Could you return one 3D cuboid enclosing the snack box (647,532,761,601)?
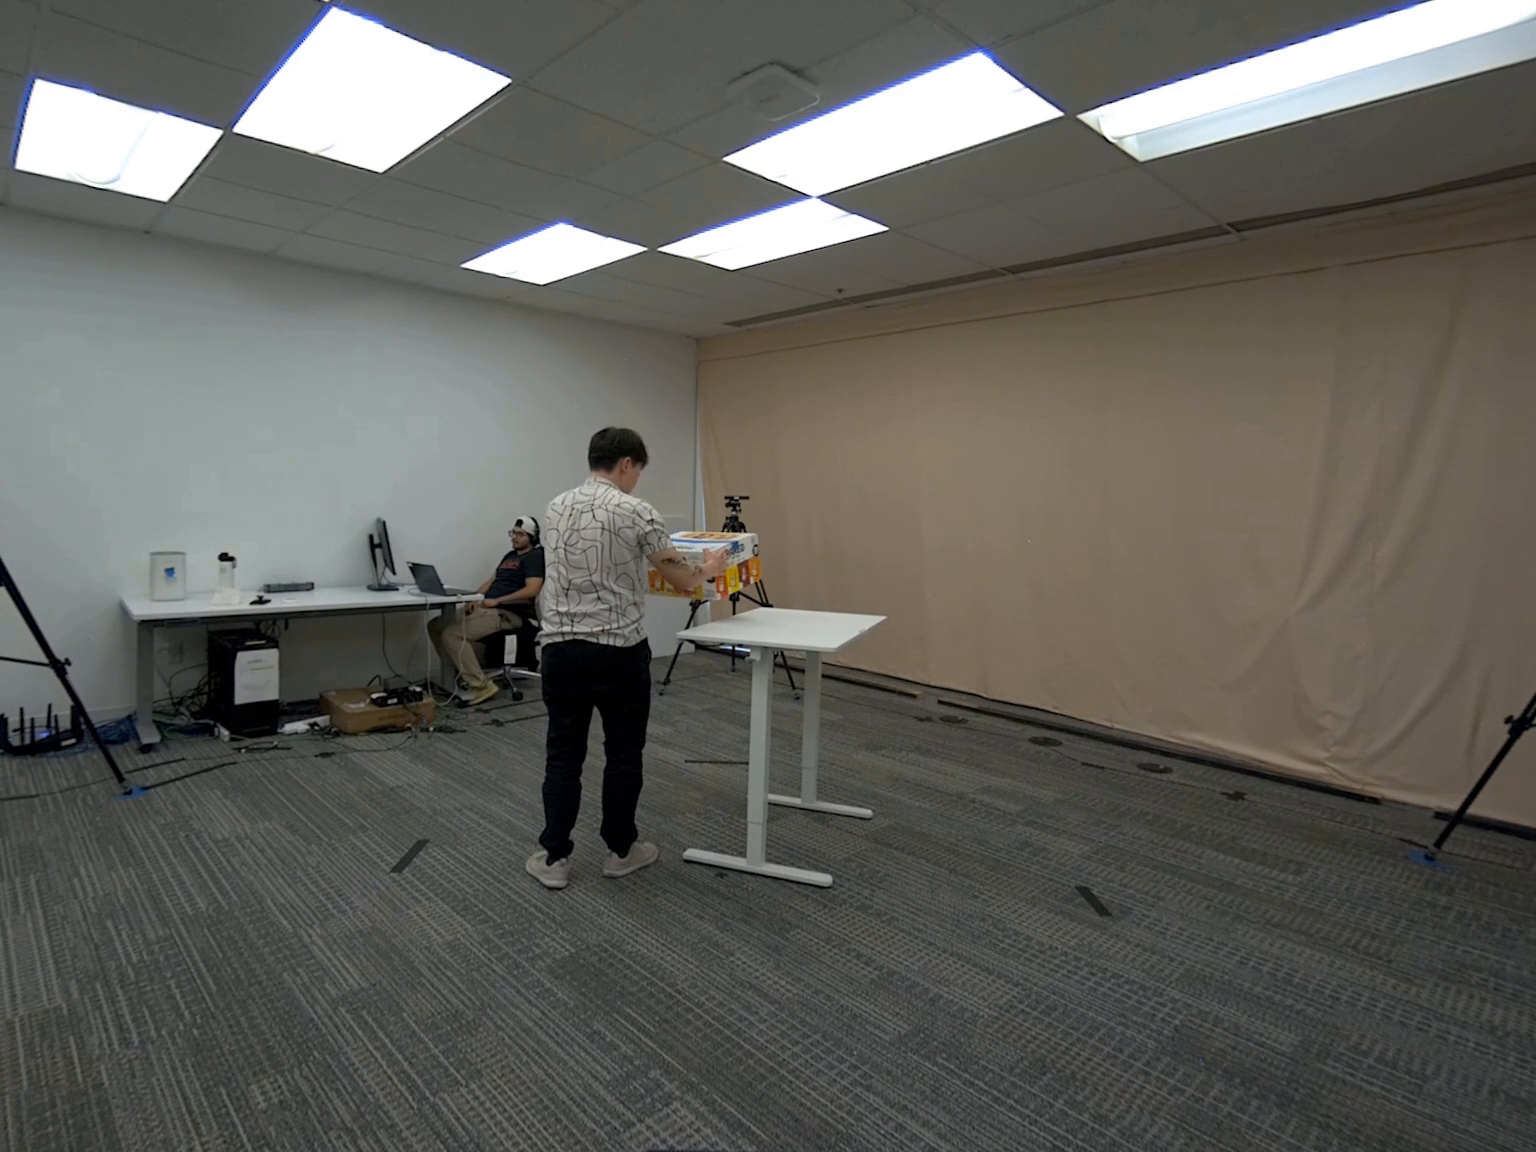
[{"bbox_3d":[-0.307,-0.042,3.564,0.414,0.204,0.336,3,15,33],"label":"snack box"}]
